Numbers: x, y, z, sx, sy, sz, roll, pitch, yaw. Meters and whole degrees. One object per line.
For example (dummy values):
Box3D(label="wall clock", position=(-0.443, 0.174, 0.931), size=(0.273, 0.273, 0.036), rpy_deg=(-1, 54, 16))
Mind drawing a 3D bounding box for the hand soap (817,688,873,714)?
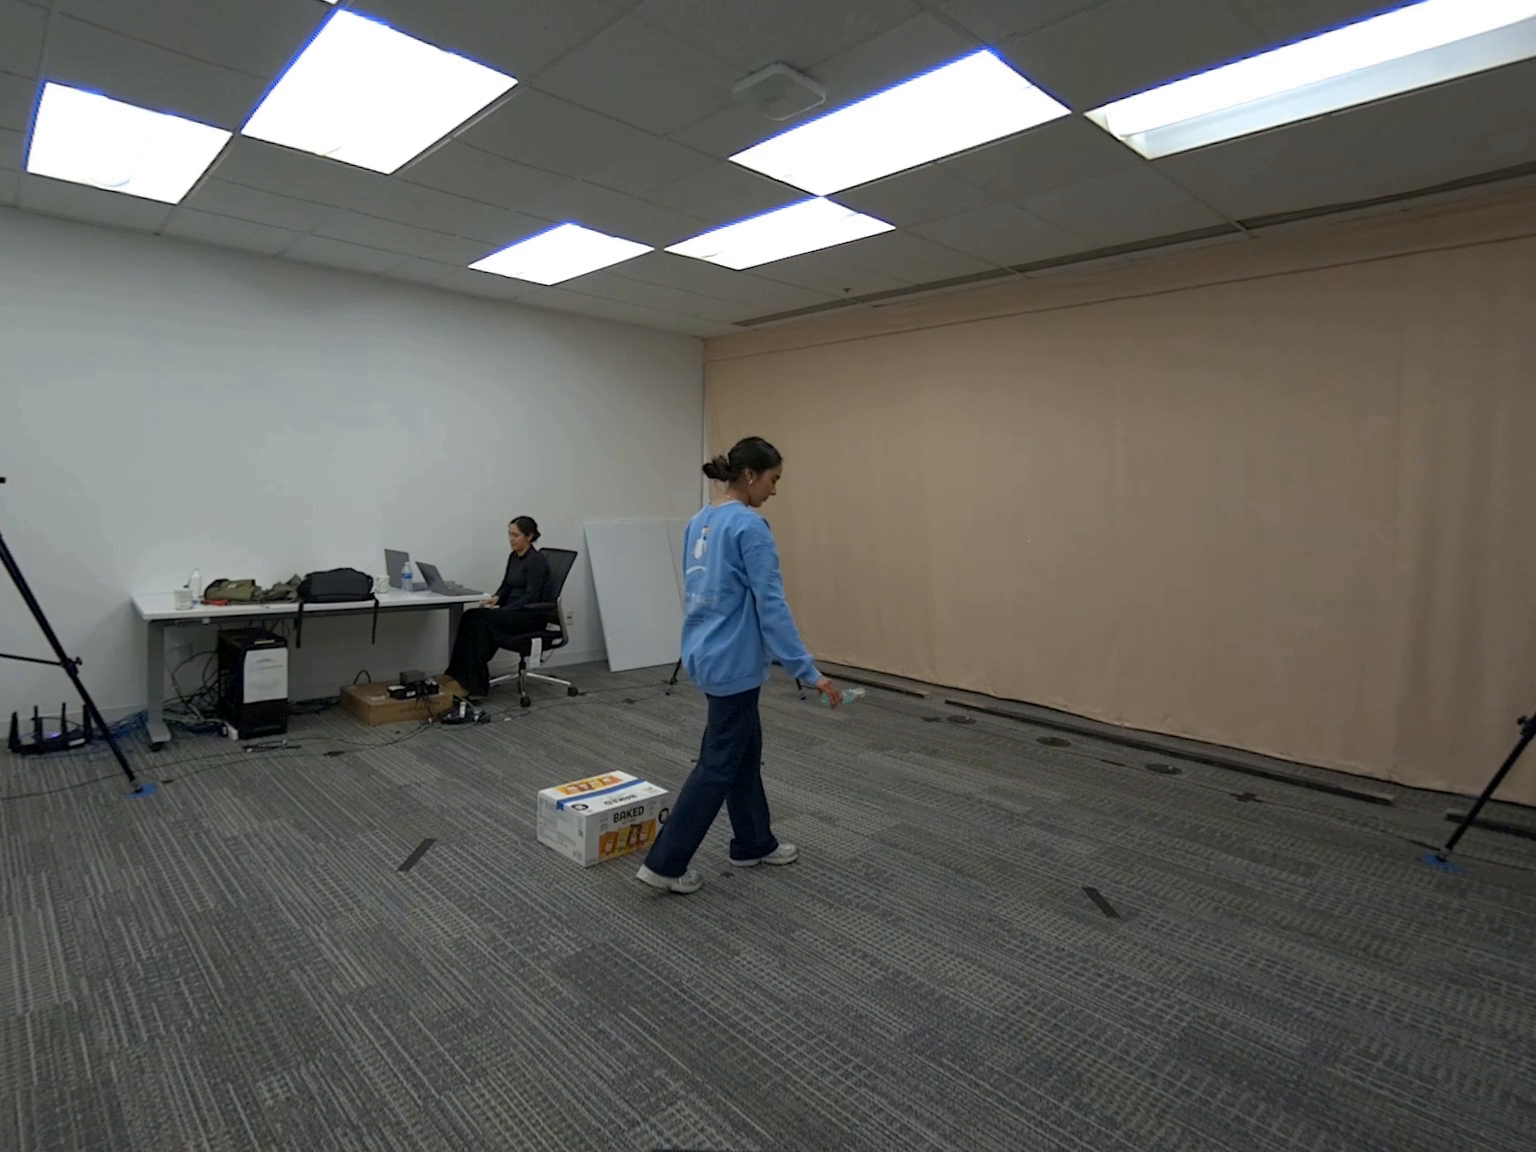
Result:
Box3D(label="hand soap", position=(0.259, 0.421, 2.871), size=(0.165, 0.043, 0.087), rpy_deg=(-4, 9, -30))
